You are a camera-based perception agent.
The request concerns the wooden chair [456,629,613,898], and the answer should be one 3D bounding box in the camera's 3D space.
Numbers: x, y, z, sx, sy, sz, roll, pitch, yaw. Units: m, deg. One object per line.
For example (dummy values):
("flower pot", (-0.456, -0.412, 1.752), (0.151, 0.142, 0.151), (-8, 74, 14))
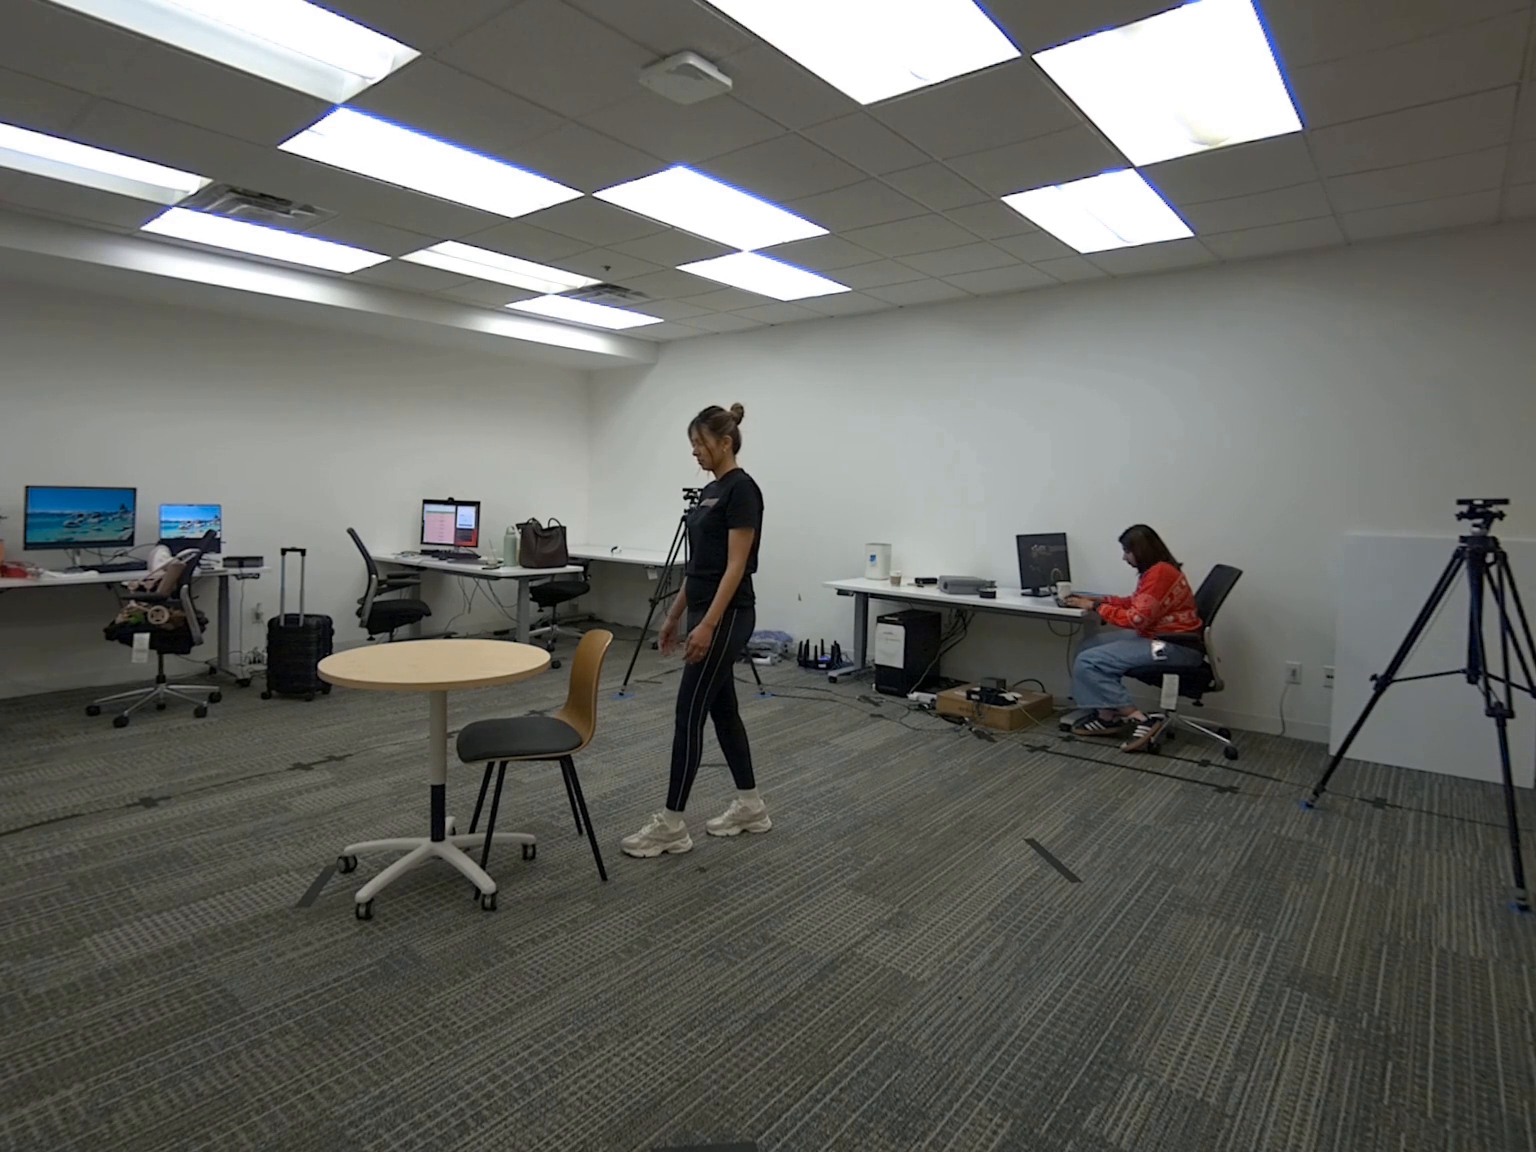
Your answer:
("wooden chair", (-0.869, 0.631, 3.096), (0.511, 0.876, 0.490), (3, 2, -23))
